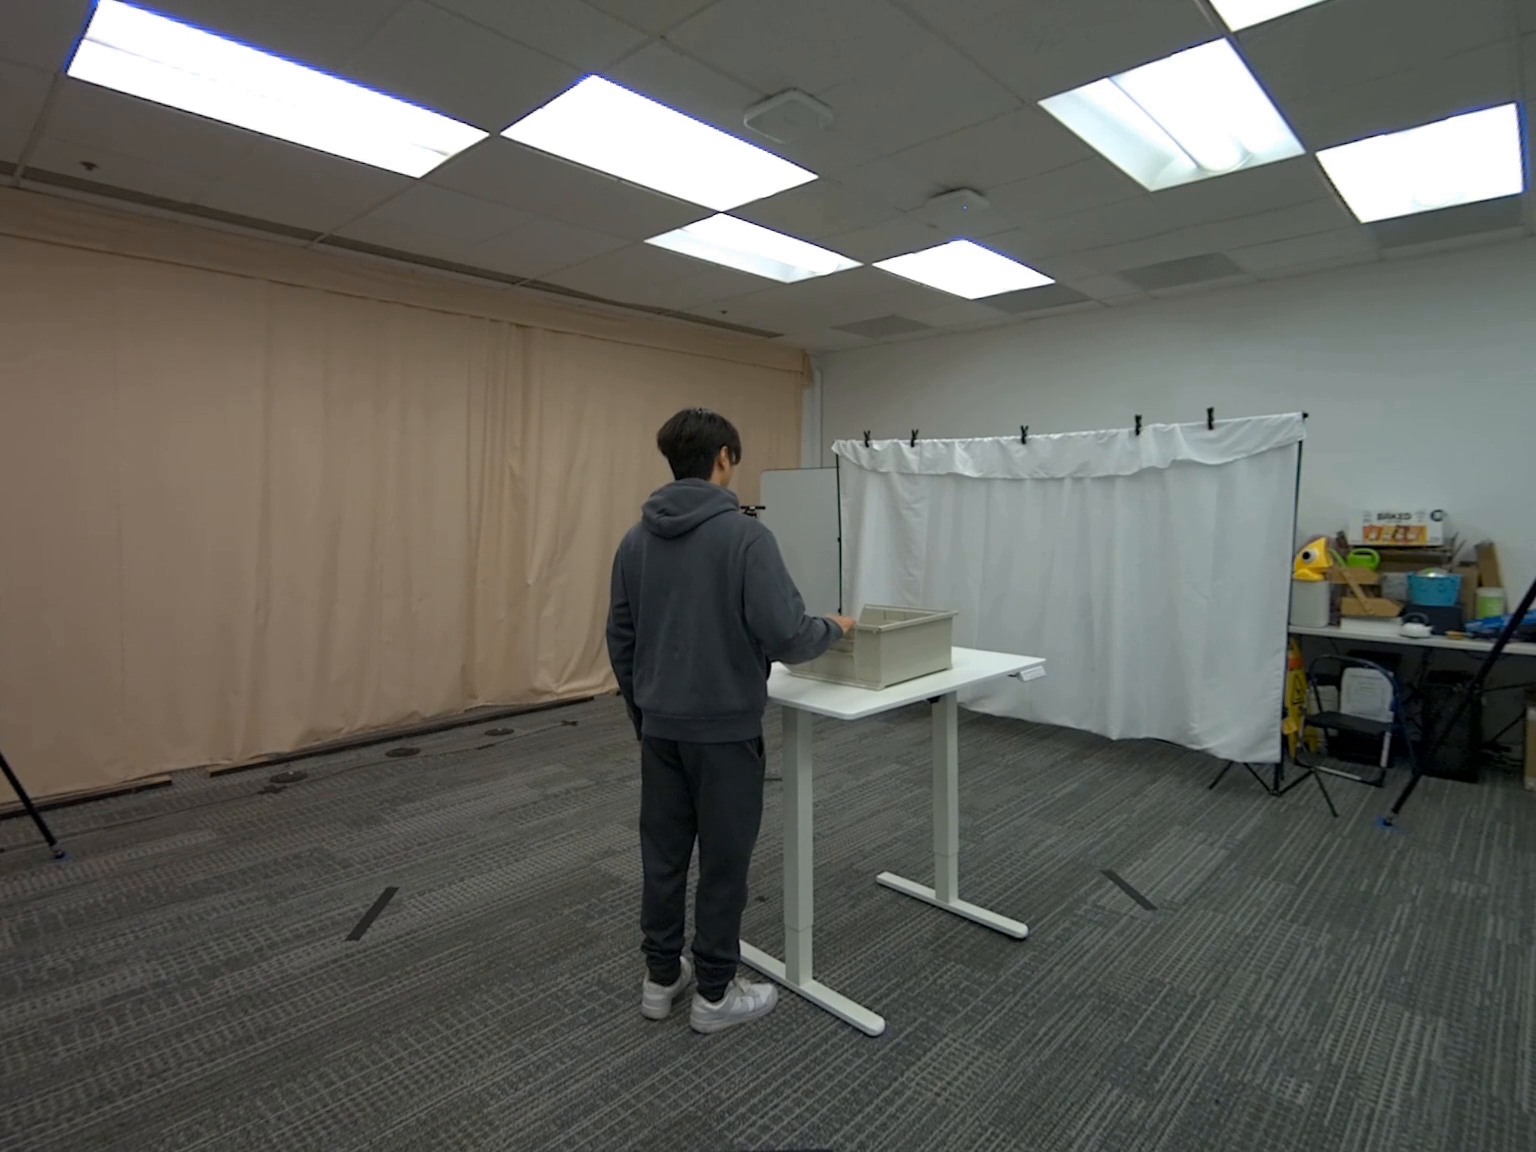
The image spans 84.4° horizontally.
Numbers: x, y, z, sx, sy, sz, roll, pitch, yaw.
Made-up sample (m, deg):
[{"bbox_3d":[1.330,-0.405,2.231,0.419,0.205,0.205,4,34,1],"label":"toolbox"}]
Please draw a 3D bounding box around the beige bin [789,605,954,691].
[{"bbox_3d":[0.308,0.206,2.575,0.390,0.188,0.409,5,7,43],"label":"beige bin"}]
